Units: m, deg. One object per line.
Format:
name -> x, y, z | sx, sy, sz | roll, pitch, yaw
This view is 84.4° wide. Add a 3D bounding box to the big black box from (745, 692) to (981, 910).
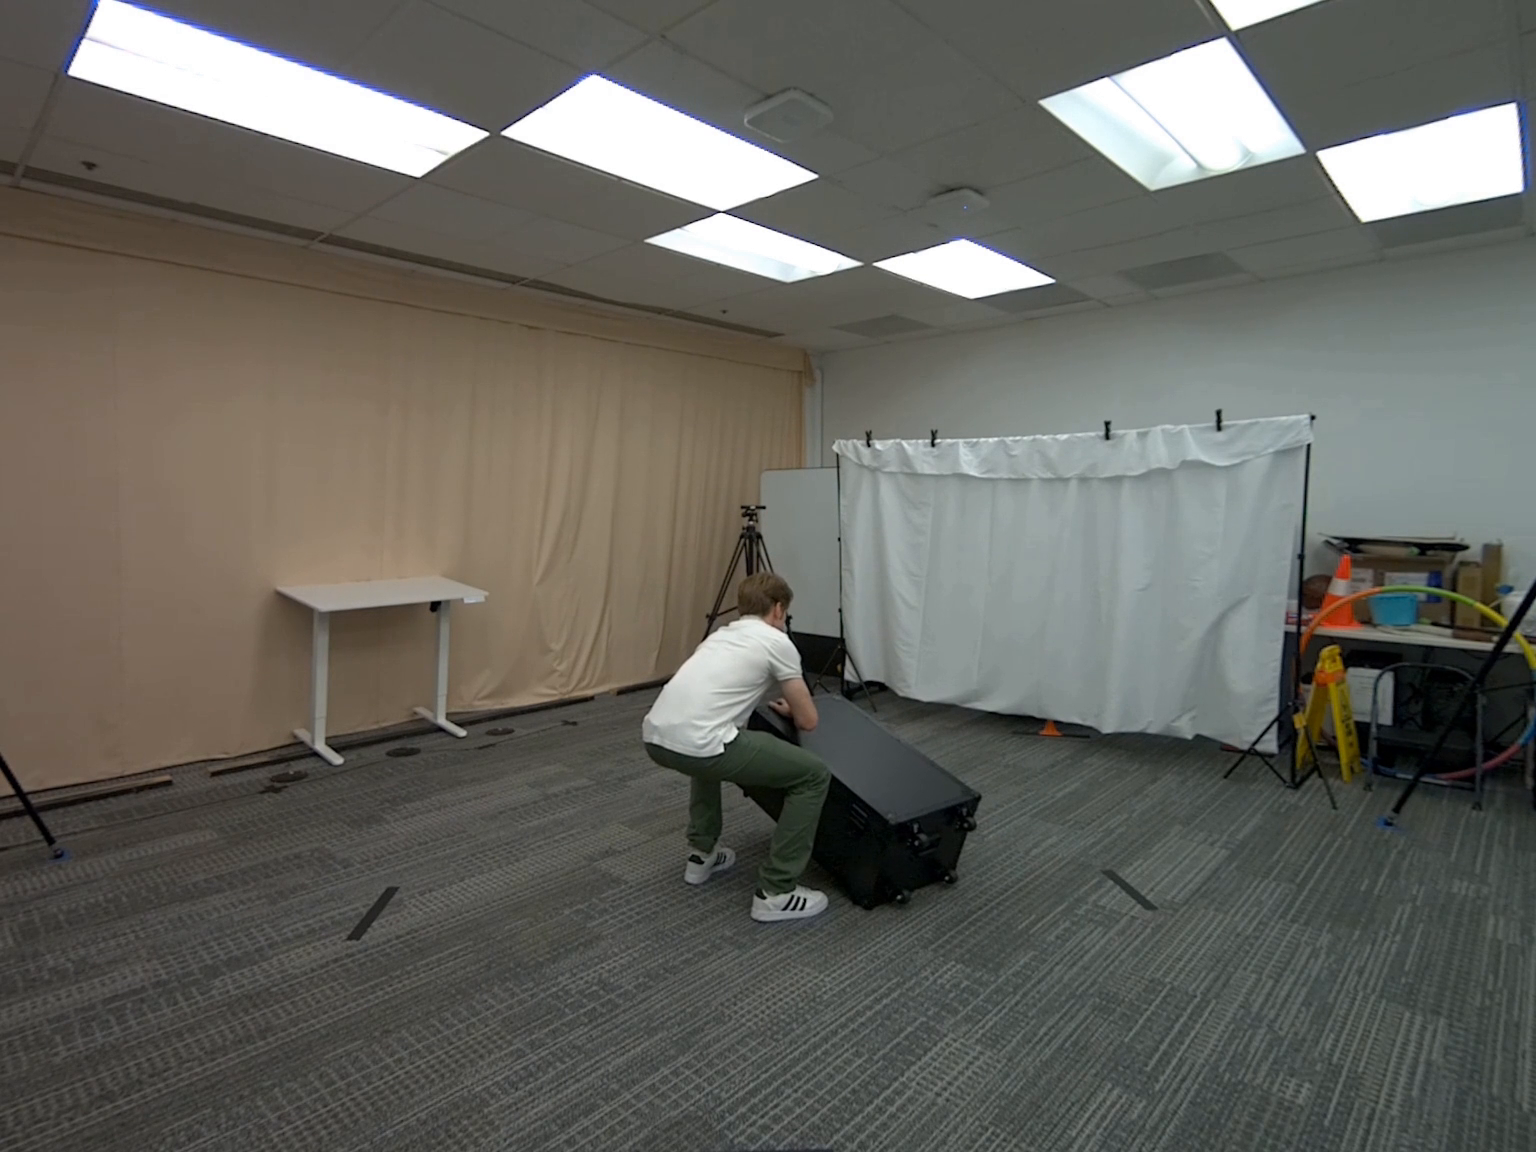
big black box -> 0.347, 0.842, 3.241 | 0.507, 0.383, 0.901 | -1, 22, -38
